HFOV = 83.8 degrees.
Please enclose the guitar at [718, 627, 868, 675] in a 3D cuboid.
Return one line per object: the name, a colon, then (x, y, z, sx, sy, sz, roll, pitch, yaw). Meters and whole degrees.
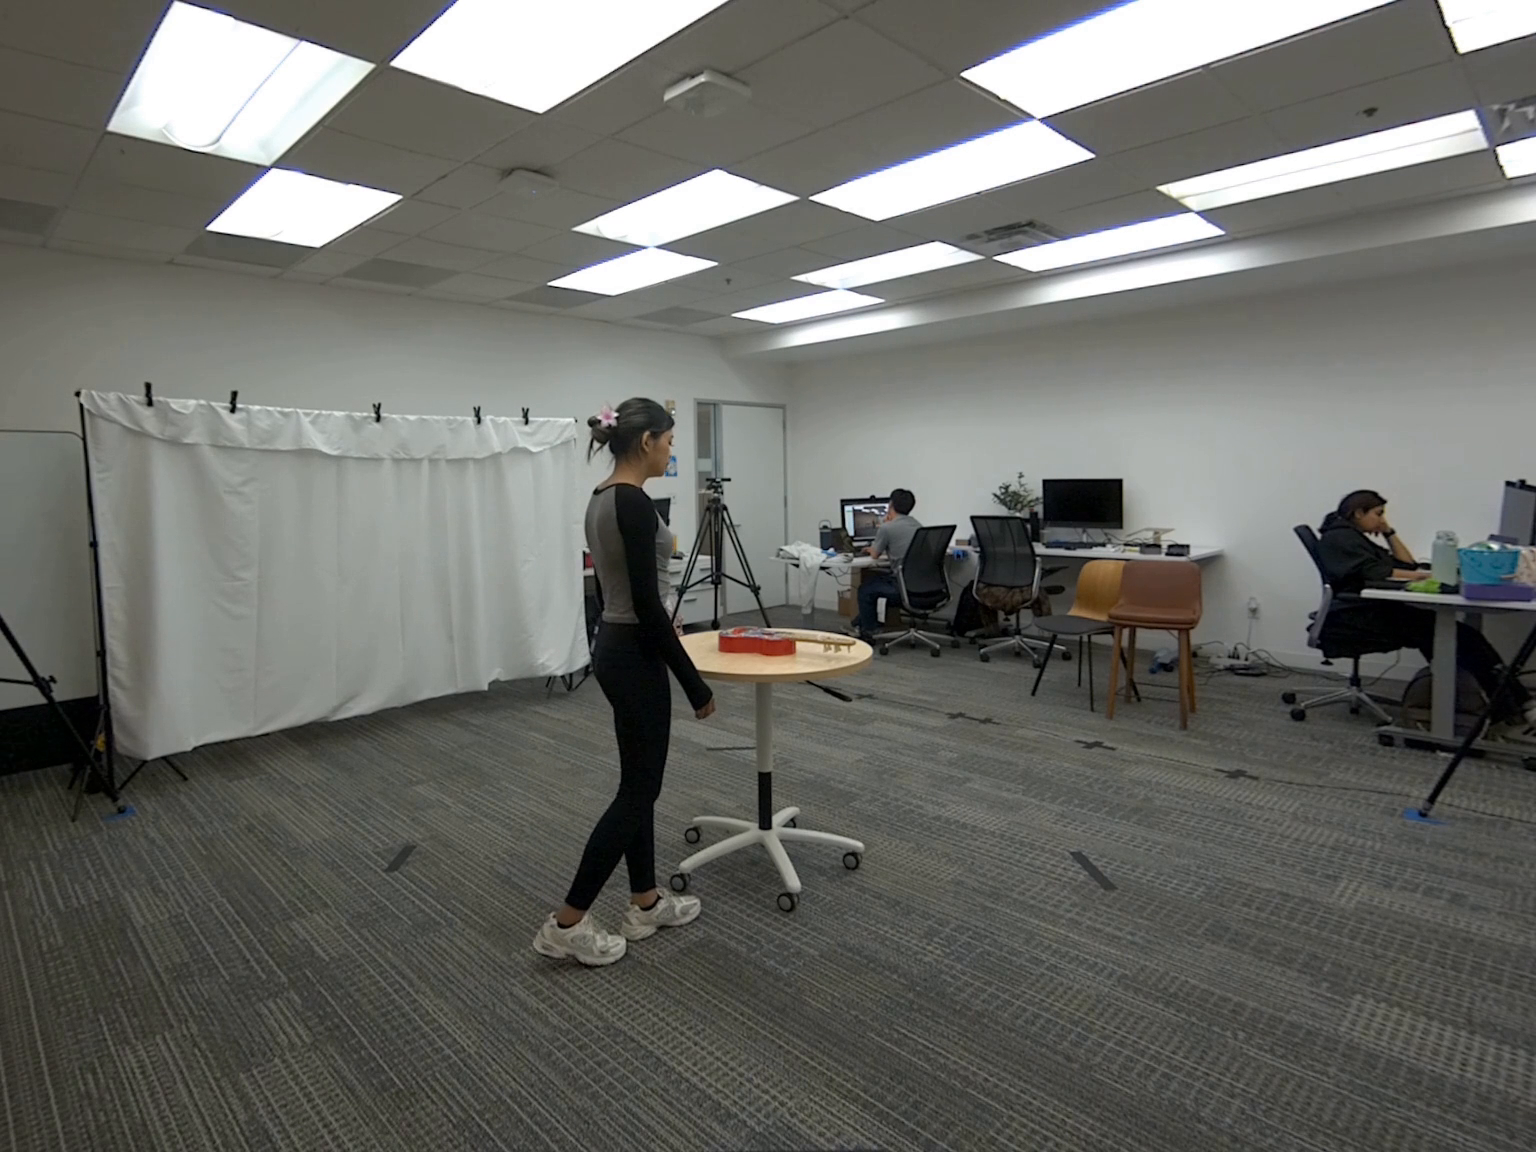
guitar: (0.046, 0.237, 2.928, 0.513, 0.070, 0.188, 5, 9, 38)
